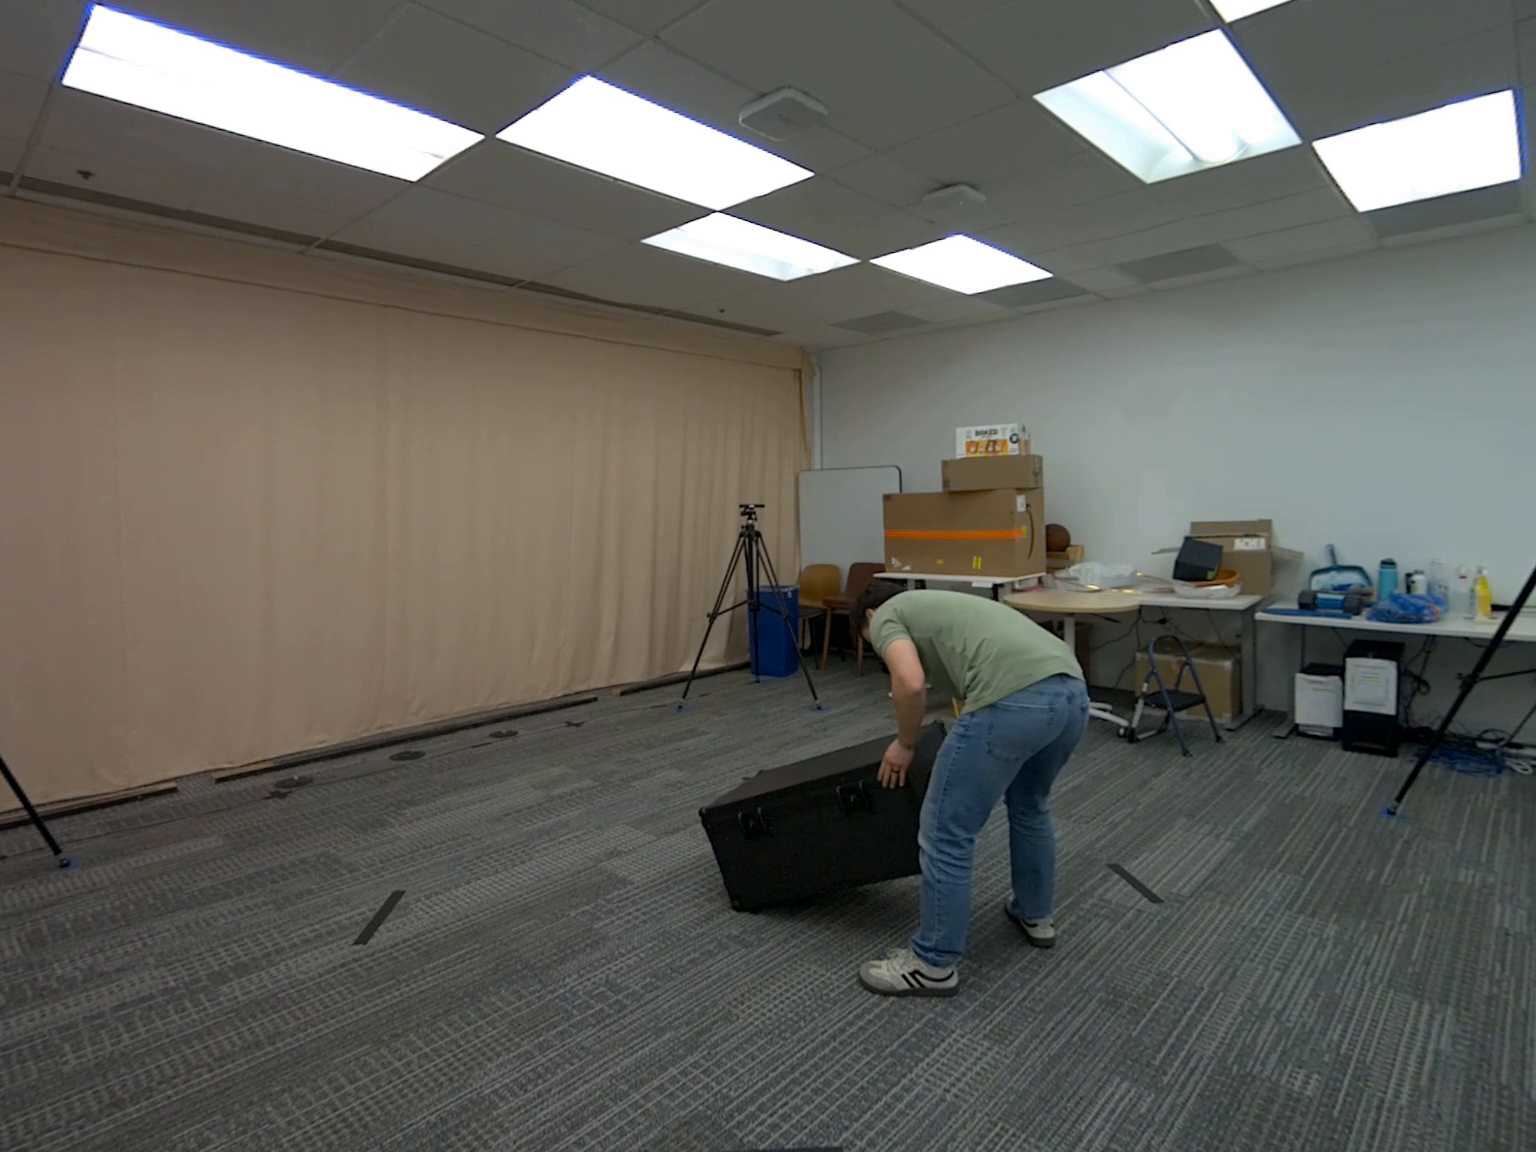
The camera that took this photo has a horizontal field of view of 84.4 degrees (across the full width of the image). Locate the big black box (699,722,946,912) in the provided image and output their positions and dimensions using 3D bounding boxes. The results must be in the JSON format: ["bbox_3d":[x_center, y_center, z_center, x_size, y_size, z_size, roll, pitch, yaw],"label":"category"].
[{"bbox_3d":[0.229,0.848,2.947,0.878,0.399,0.508,-22,-7,29],"label":"big black box"}]
